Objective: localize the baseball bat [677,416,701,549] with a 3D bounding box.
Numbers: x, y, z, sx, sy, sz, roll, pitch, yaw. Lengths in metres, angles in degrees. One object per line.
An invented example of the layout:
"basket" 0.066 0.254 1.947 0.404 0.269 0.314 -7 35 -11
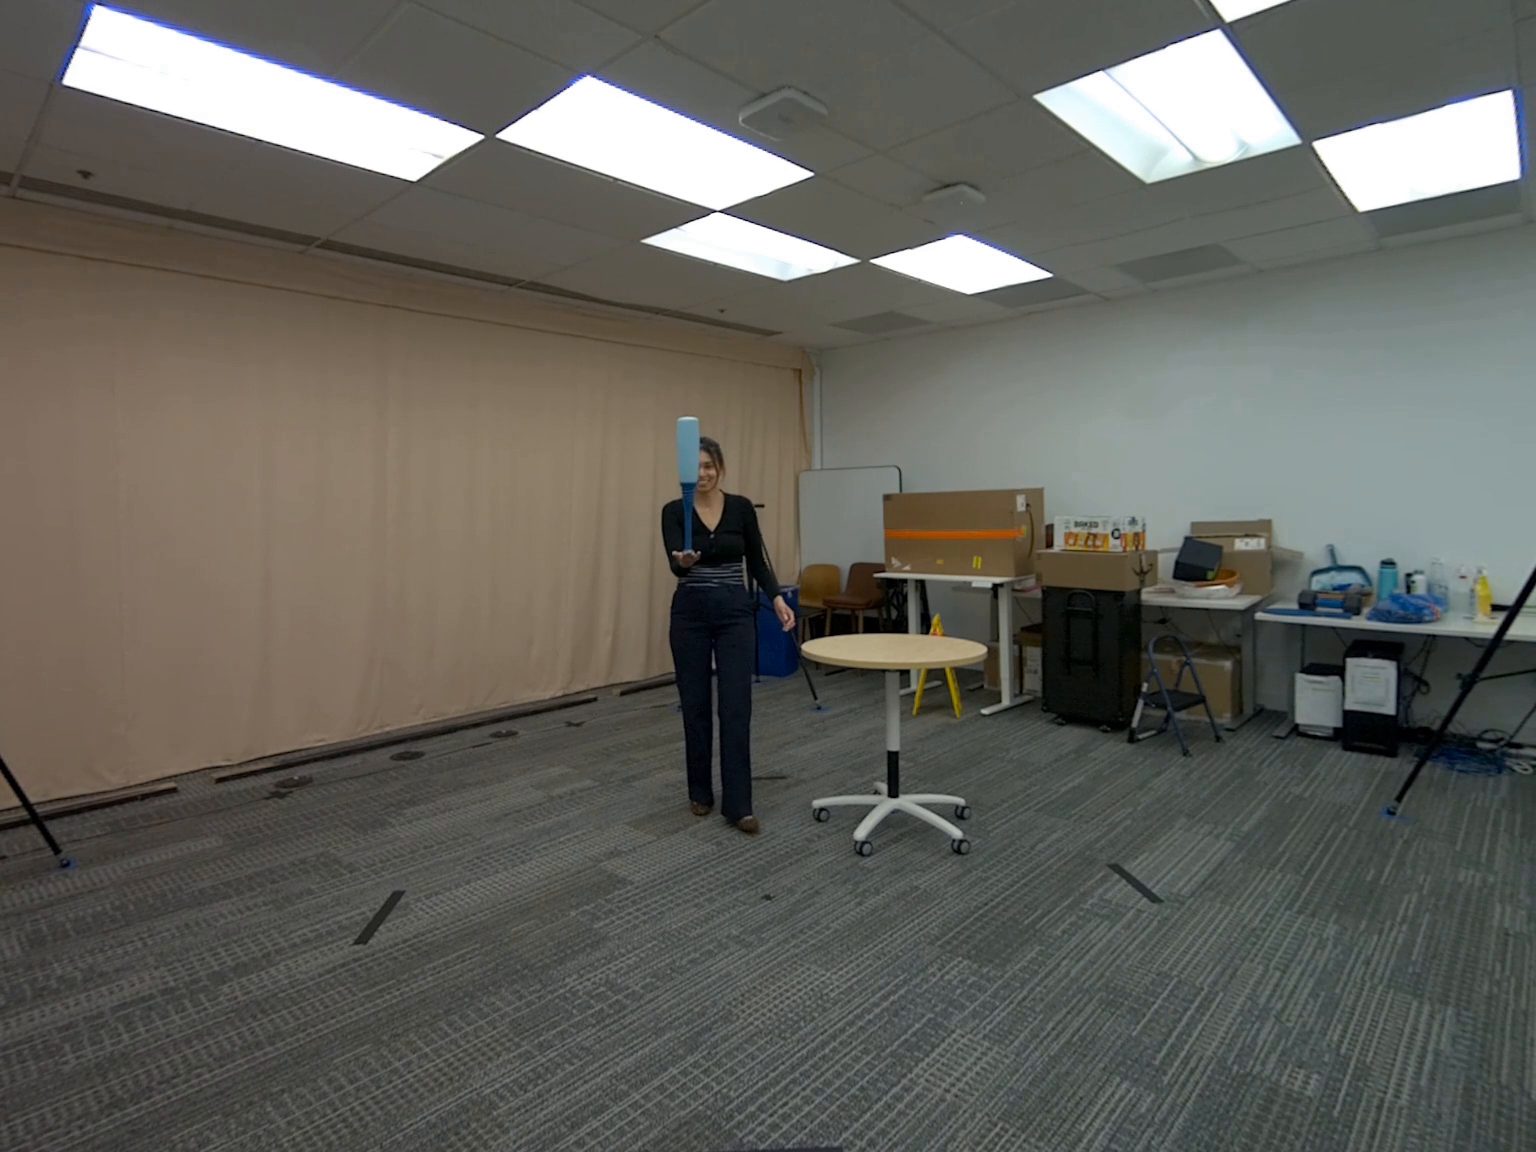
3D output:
"baseball bat" -0.310 -0.348 3.300 0.089 0.541 0.089 0 6 -2
